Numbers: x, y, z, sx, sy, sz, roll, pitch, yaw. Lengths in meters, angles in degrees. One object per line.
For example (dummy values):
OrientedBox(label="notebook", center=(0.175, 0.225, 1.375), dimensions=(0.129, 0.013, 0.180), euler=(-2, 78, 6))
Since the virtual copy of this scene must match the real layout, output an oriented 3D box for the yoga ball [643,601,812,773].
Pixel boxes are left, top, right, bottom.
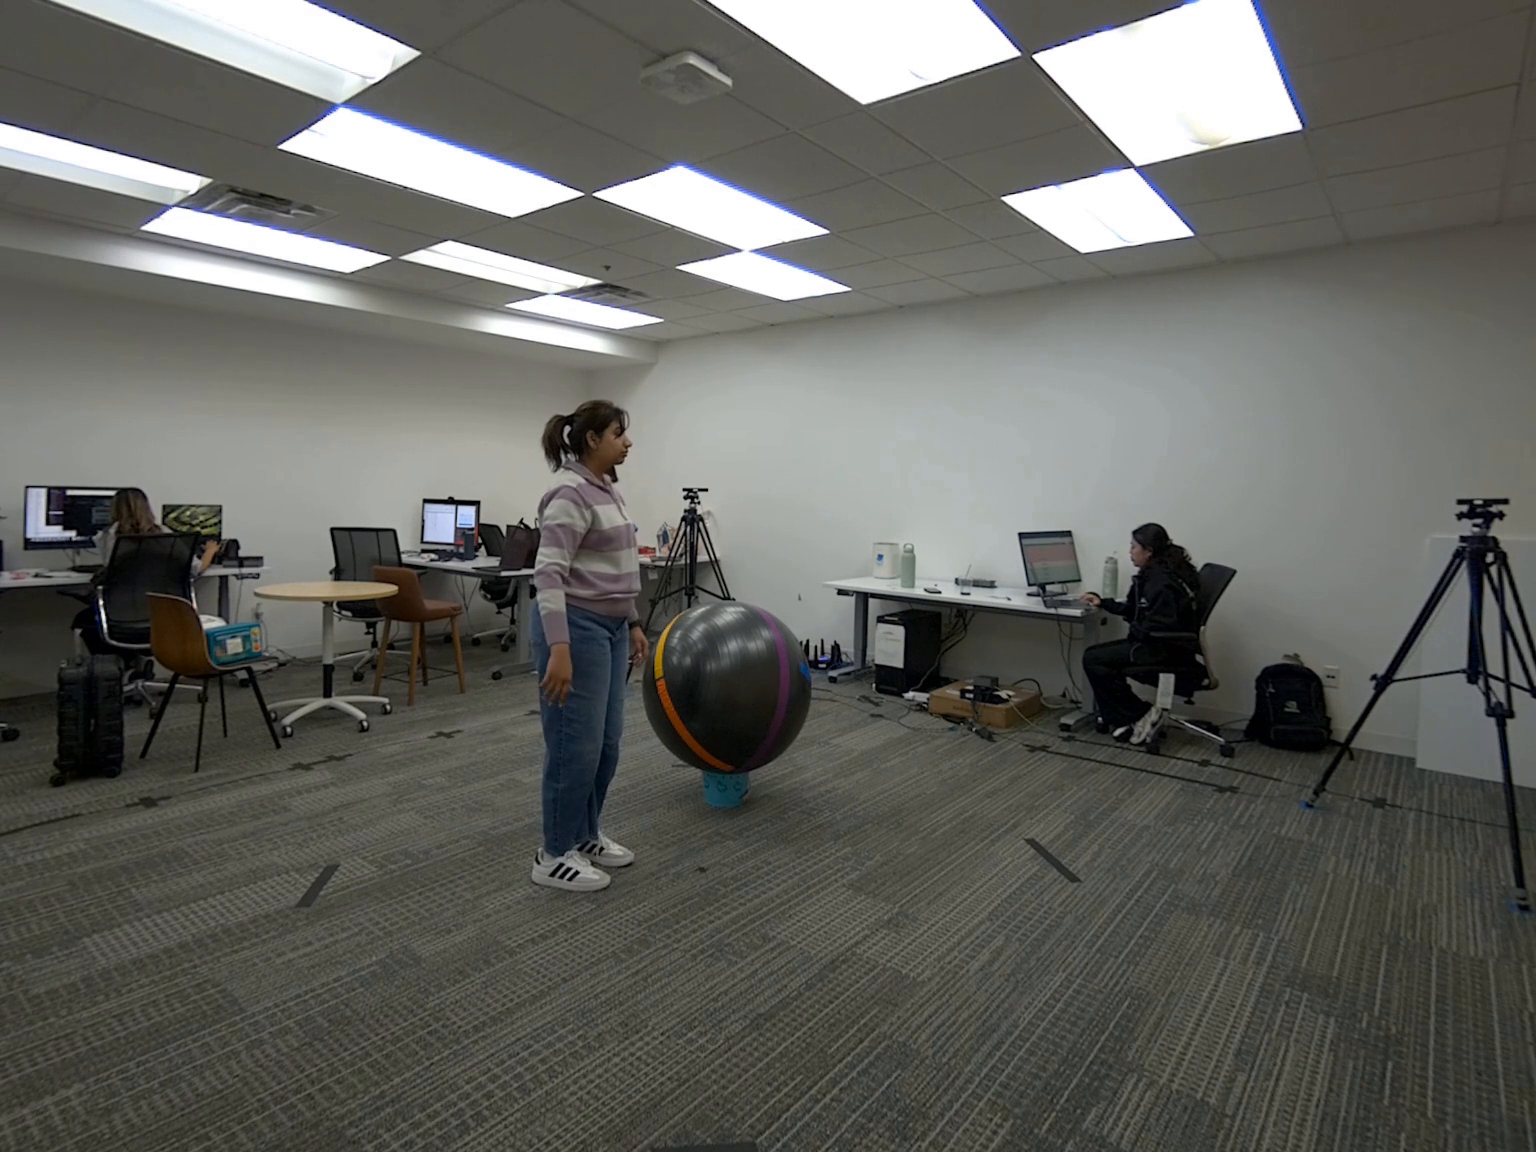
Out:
OrientedBox(label="yoga ball", center=(-0.195, 0.493, 3.806), dimensions=(0.757, 0.756, 0.761), euler=(1, 4, -2))
